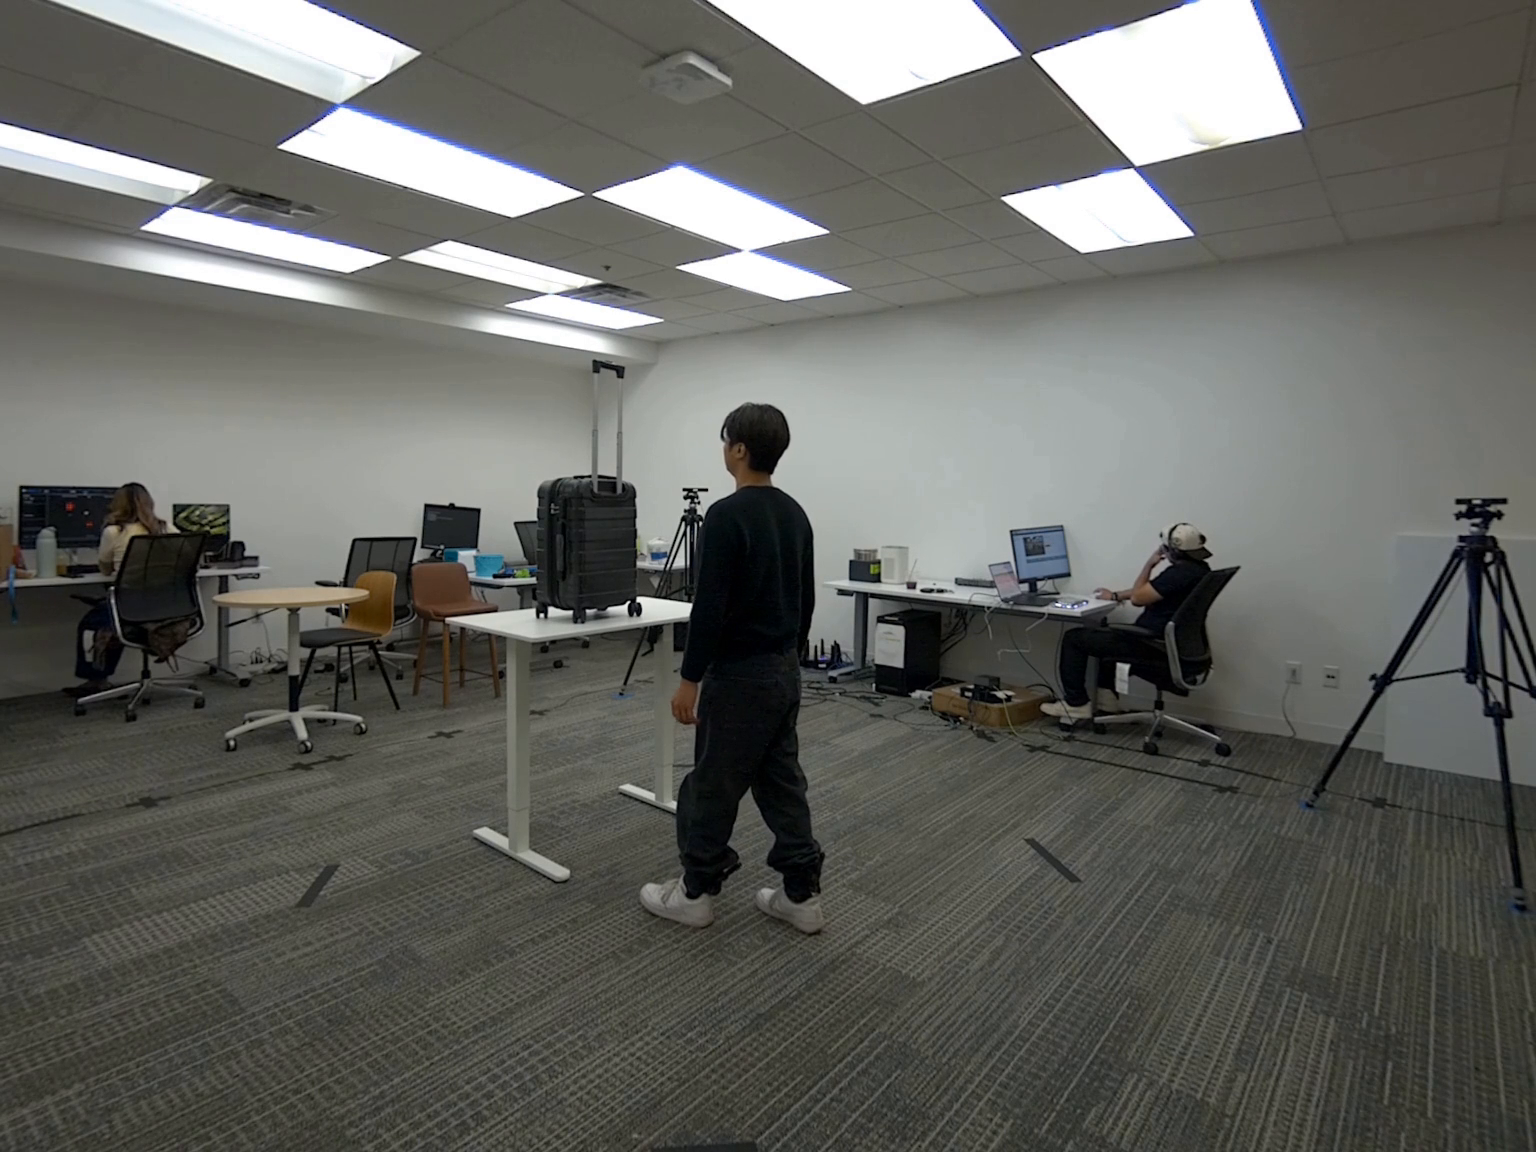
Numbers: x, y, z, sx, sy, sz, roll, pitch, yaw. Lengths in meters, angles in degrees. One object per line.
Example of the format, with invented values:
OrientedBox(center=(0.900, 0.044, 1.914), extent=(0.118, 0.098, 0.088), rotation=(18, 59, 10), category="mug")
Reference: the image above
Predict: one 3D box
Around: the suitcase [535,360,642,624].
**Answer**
OrientedBox(center=(-0.717, -0.322, 3.304), extent=(0.265, 0.977, 0.372), rotation=(1, 2, 39), category="suitcase")
